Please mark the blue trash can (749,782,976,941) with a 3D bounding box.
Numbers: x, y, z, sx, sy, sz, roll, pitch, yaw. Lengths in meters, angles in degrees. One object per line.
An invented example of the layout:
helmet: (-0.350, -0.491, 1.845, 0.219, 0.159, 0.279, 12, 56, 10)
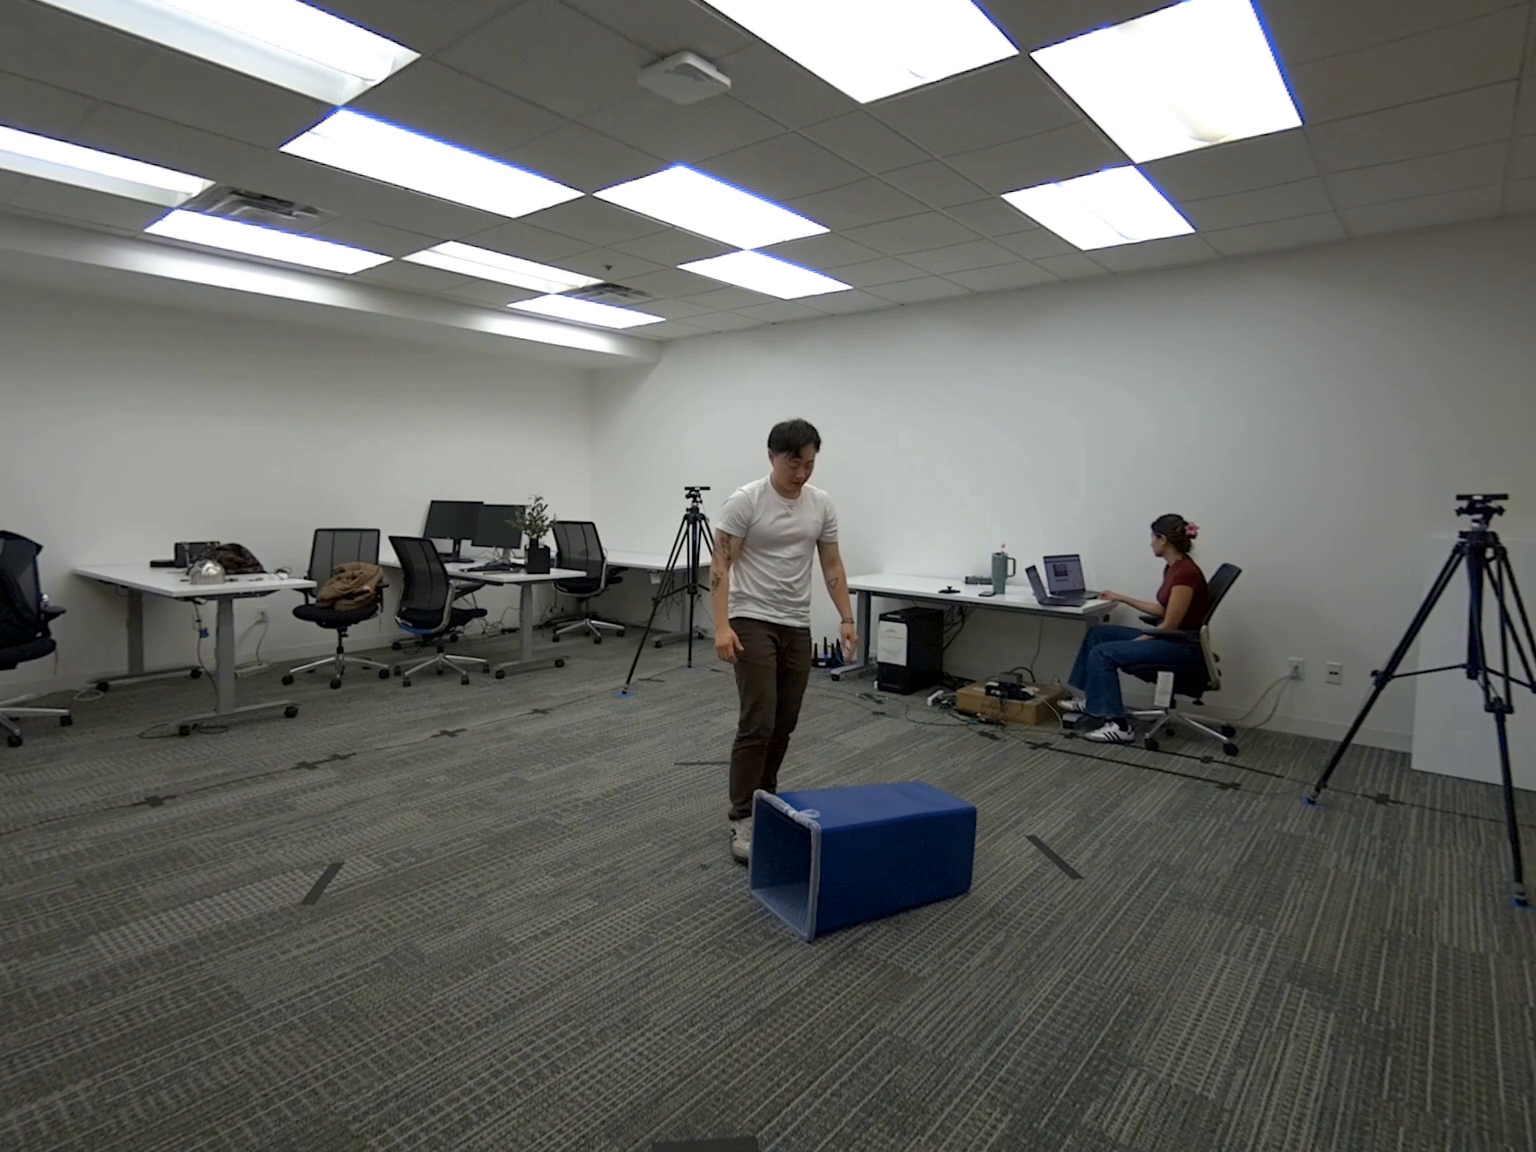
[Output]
blue trash can: (0.326, 0.926, 2.919, 0.693, 0.377, 0.385, 1, 3, -31)
